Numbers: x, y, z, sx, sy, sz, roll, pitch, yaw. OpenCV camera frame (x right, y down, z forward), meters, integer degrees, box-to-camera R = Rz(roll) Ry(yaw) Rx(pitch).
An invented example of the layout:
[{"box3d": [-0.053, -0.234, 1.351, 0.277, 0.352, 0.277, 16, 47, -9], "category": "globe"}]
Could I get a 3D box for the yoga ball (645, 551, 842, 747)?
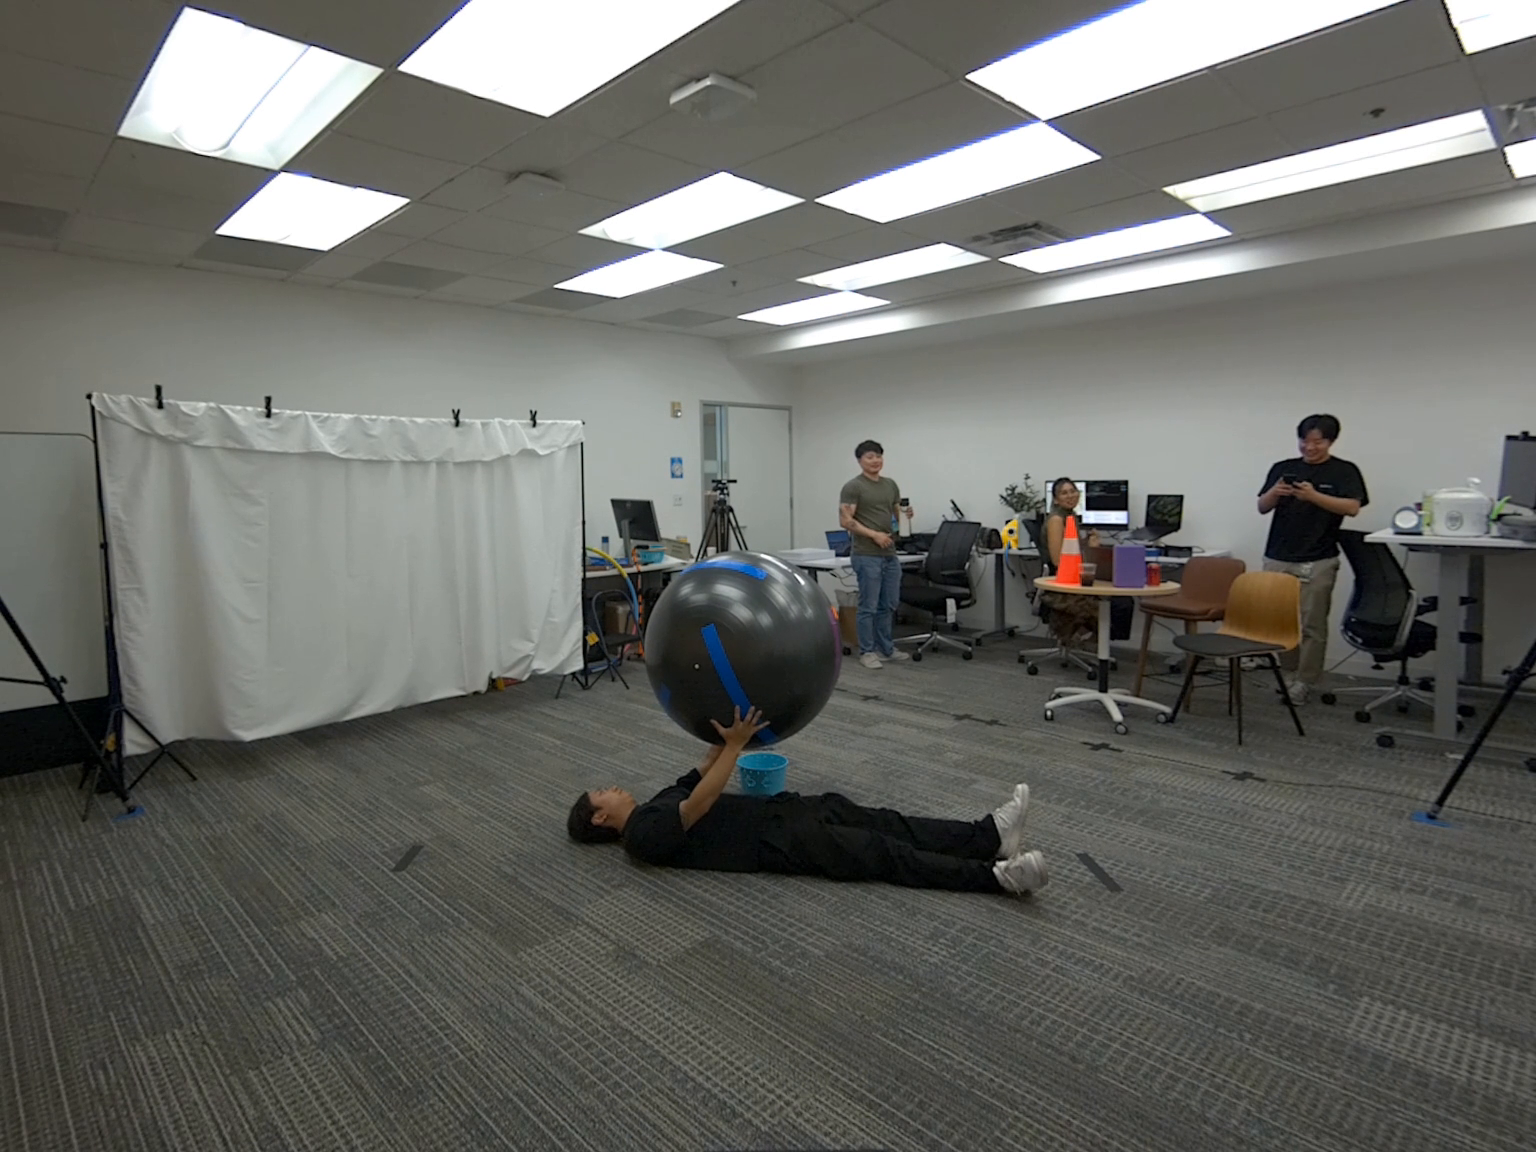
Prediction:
[{"box3d": [-0.101, 0.286, 3.307, 0.757, 0.755, 0.762, -1, 5, -2], "category": "yoga ball"}]
